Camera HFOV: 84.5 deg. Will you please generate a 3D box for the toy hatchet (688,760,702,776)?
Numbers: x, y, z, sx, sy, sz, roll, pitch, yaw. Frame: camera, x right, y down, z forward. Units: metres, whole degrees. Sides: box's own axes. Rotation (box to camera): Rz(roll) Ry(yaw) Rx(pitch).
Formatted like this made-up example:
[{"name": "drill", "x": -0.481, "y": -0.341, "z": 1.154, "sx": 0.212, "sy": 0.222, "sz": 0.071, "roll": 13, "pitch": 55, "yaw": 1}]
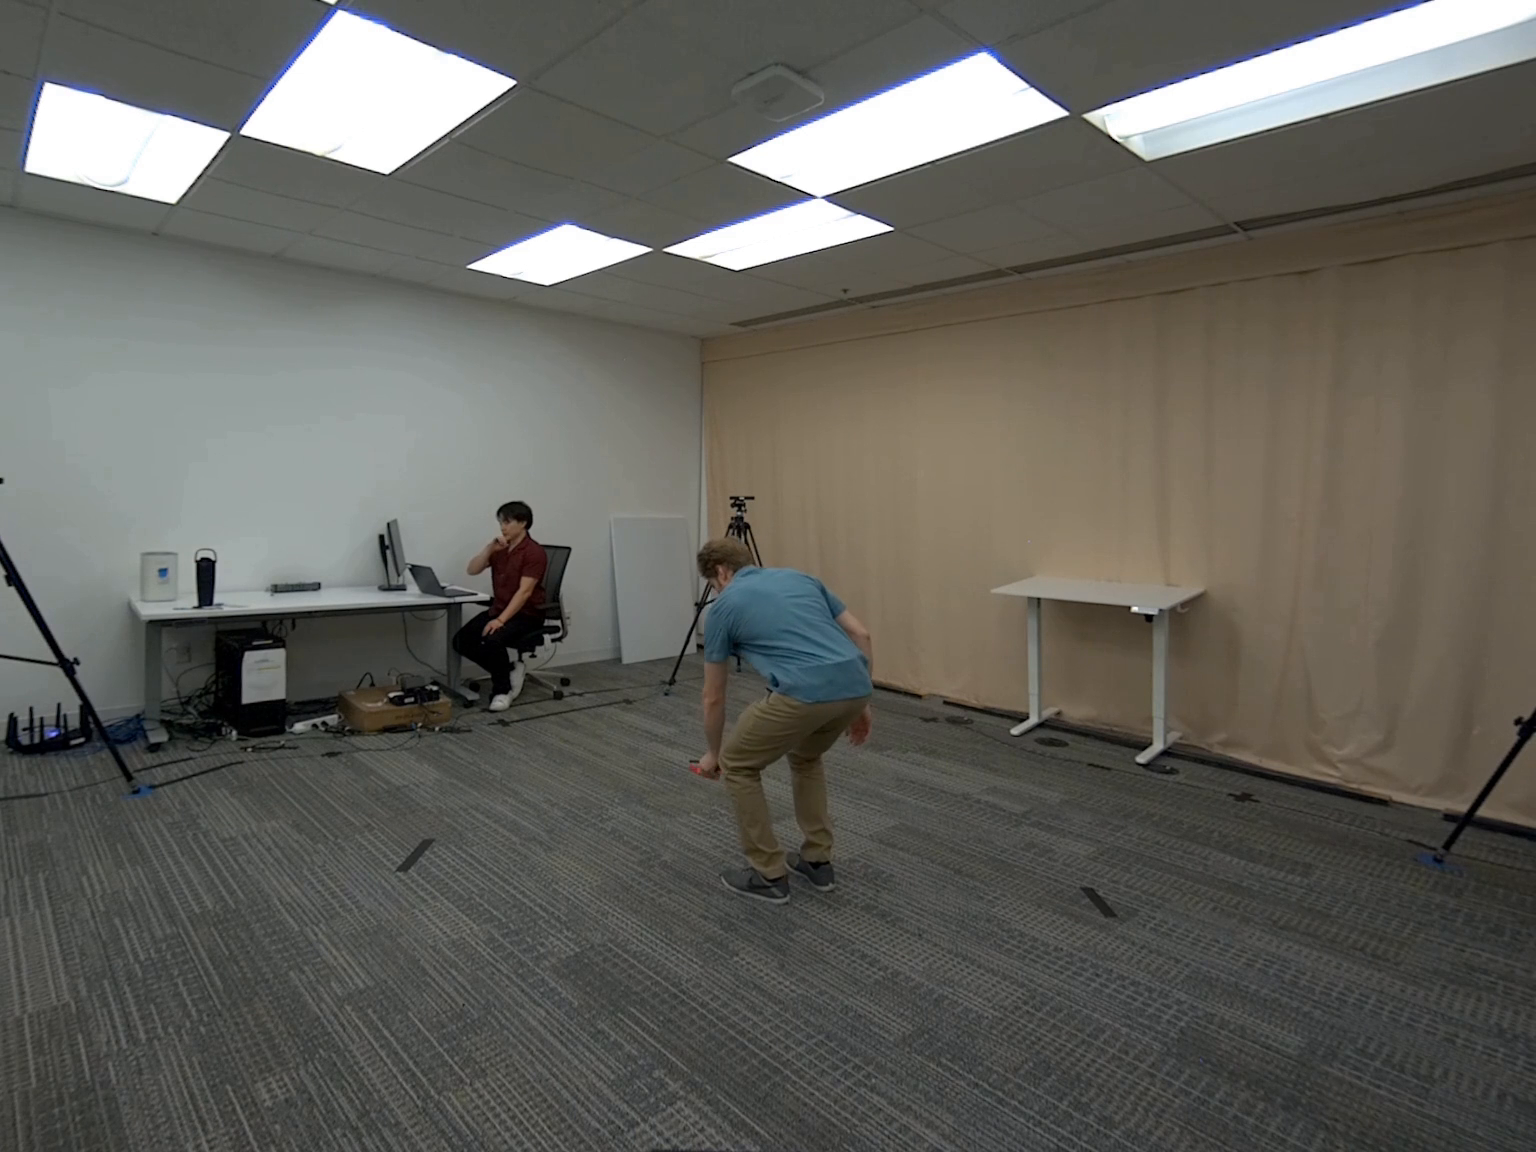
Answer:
[{"name": "toy hatchet", "x": -0.192, "y": 0.780, "z": 3.318, "sx": 0.127, "sy": 0.030, "sz": 0.275, "roll": 37, "pitch": -32, "yaw": -32}]
